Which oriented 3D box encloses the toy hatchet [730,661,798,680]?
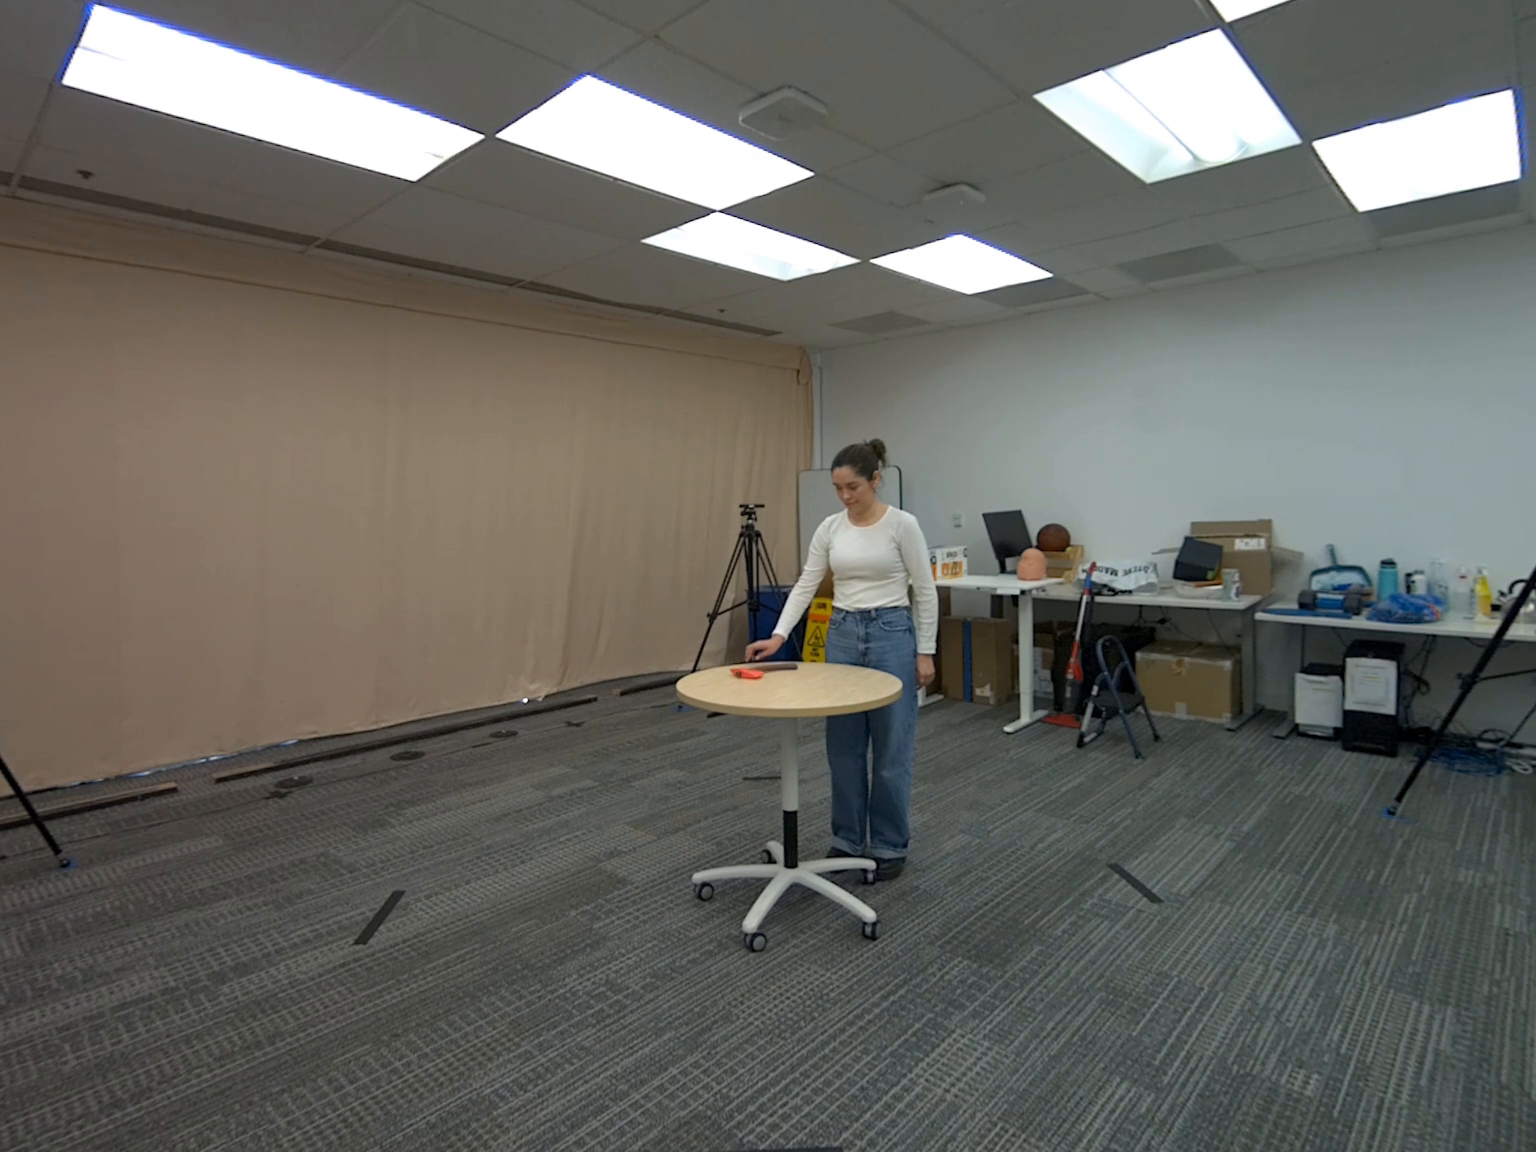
[{"bbox_3d":[0.001,0.343,3.026,0.263,0.029,0.135,-2,6,-27],"label":"toy hatchet"}]
